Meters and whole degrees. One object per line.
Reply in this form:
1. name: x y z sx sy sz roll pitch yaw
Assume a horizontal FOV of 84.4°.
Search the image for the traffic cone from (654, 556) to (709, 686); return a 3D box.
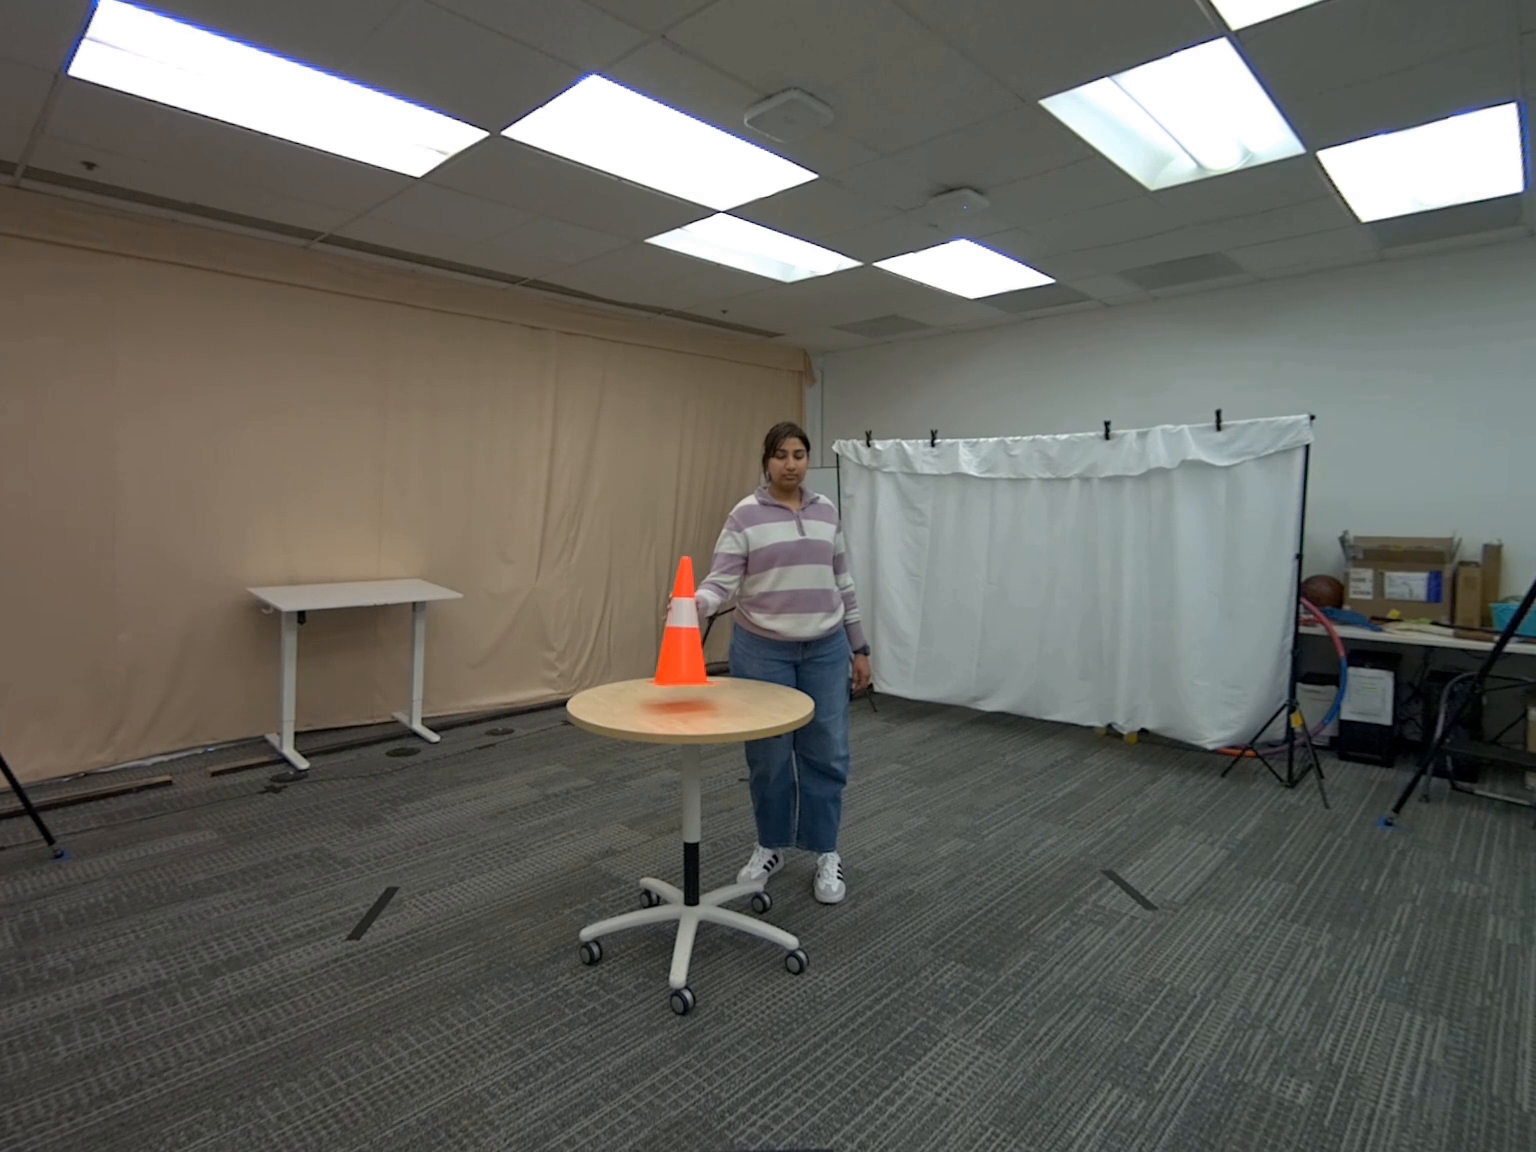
1. traffic cone: -0.252 0.141 2.556 0.199 0.385 0.209 4 -5 -23
